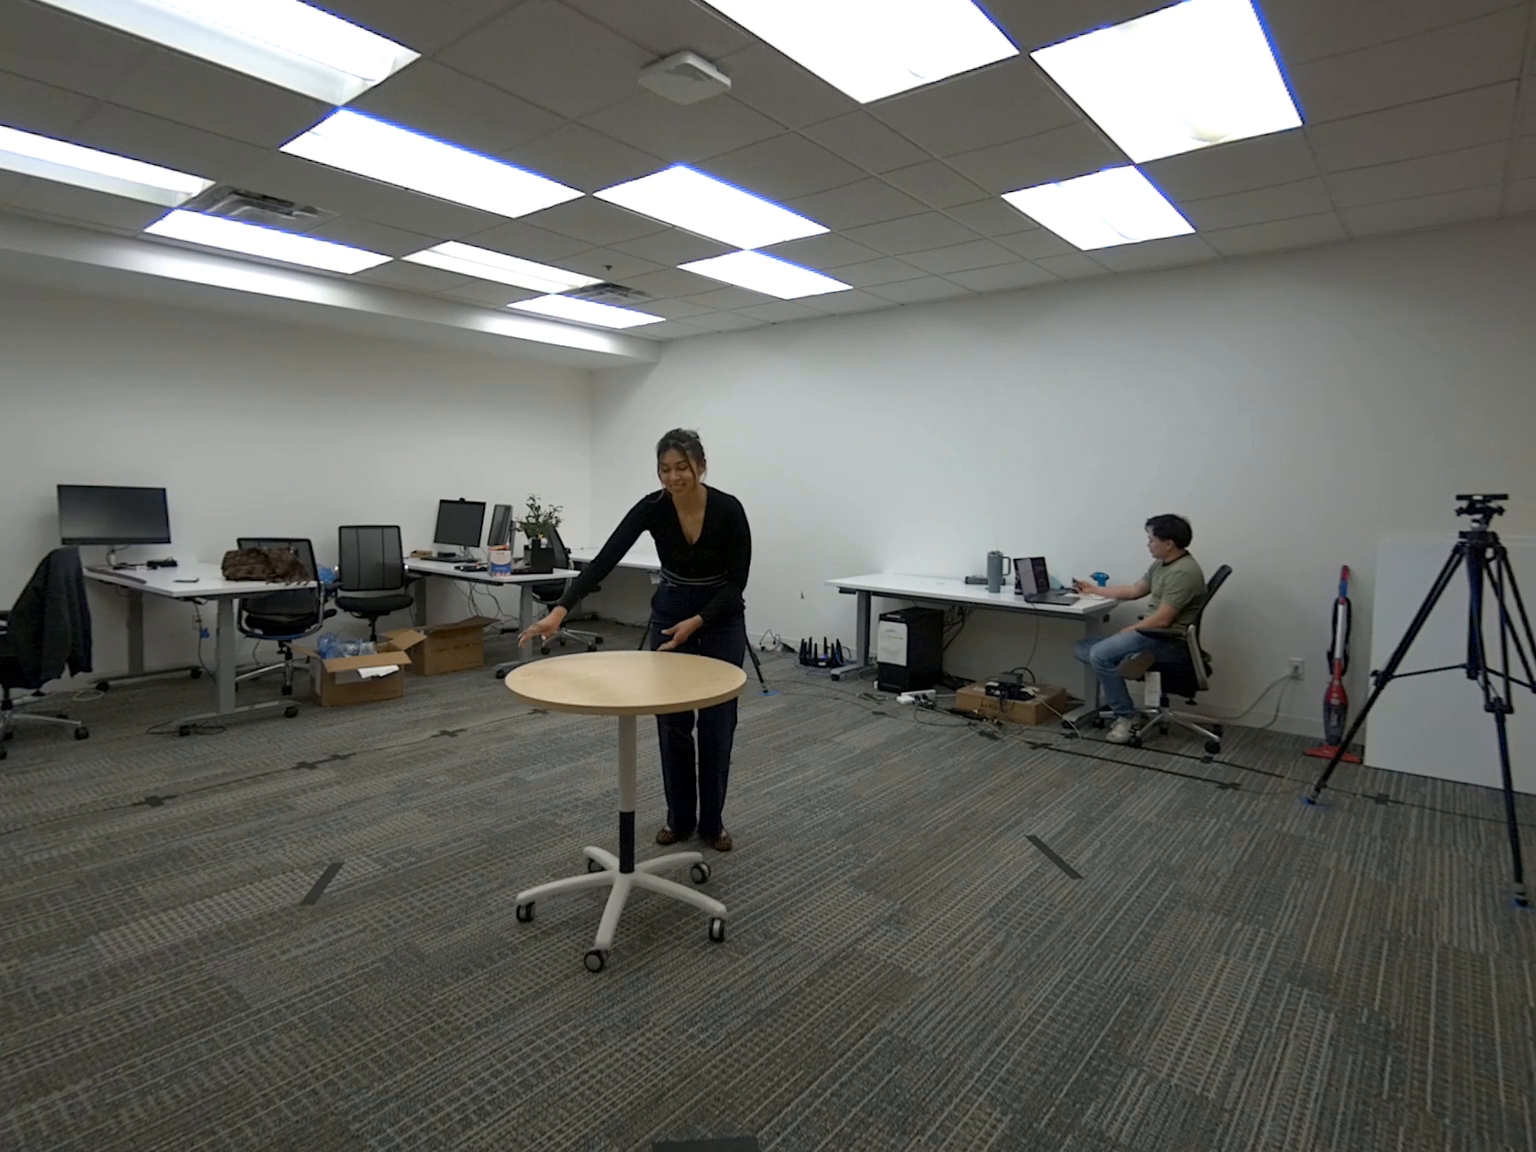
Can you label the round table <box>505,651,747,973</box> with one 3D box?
[{"bbox_3d":[-0.464,0.707,2.744,0.763,0.791,0.768,0,5,-2],"label":"round table"}]
